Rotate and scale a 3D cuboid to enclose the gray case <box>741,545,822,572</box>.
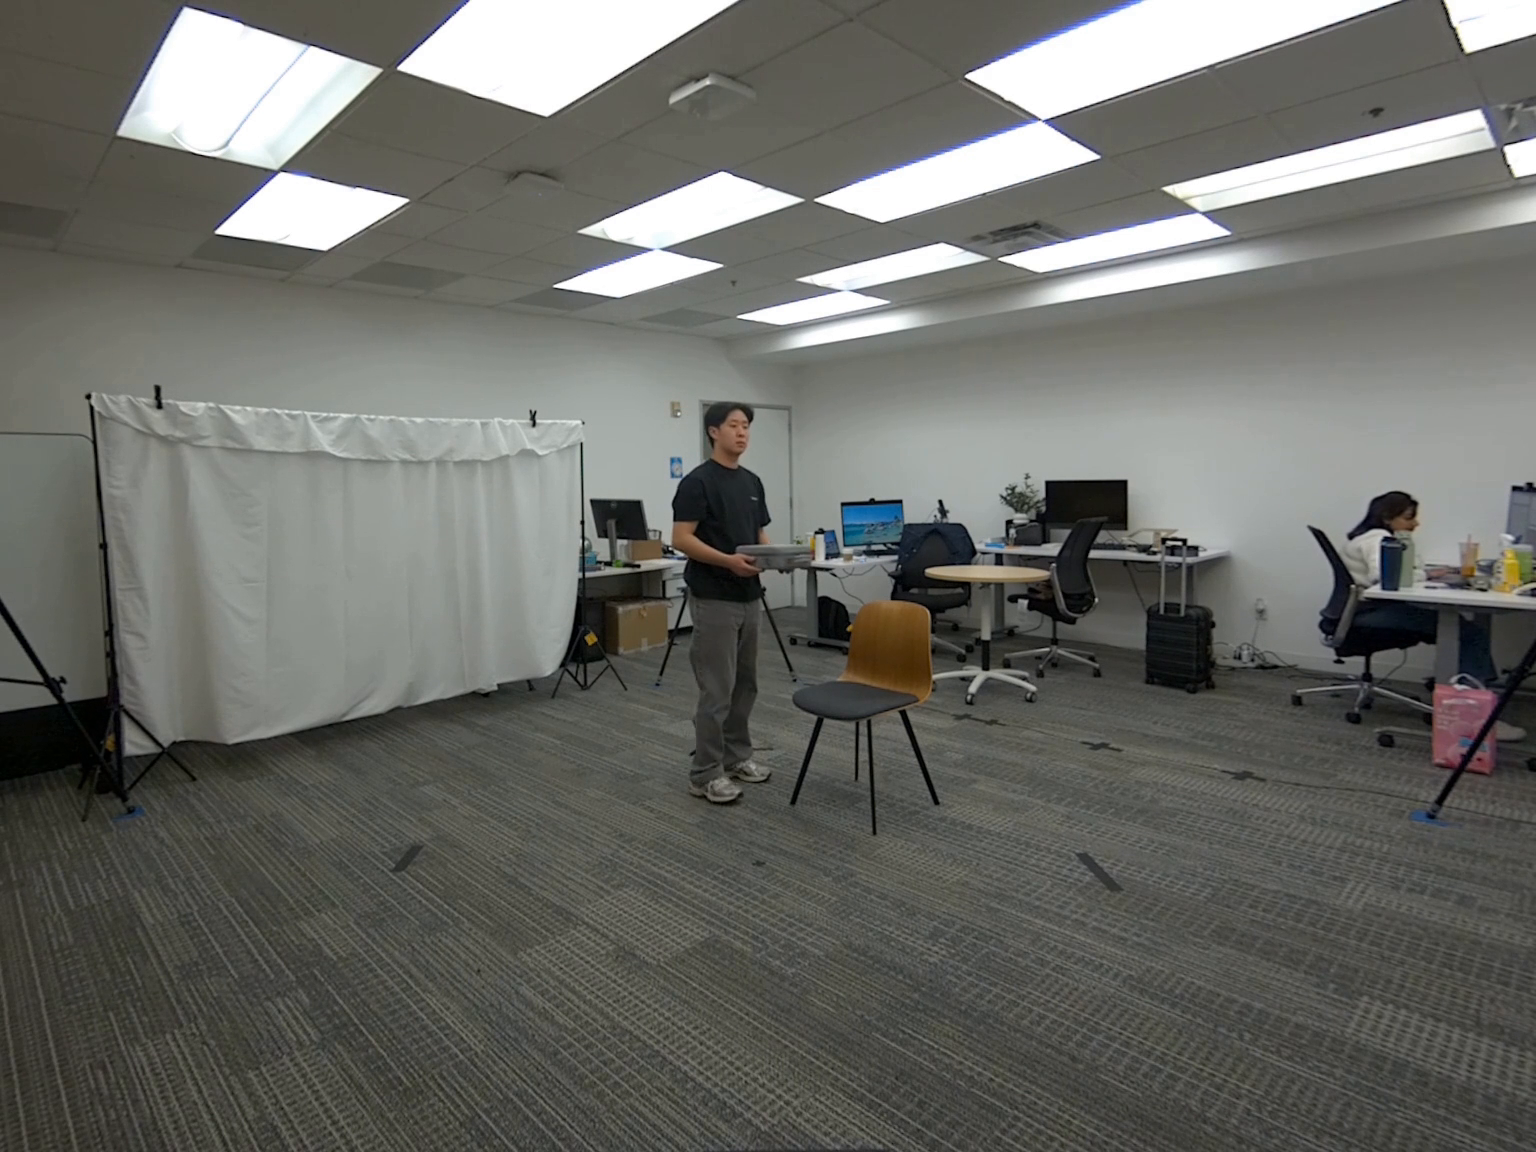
[{"bbox_3d":[0.032,-0.080,3.692,0.295,0.103,0.256,1,3,42],"label":"gray case"}]
